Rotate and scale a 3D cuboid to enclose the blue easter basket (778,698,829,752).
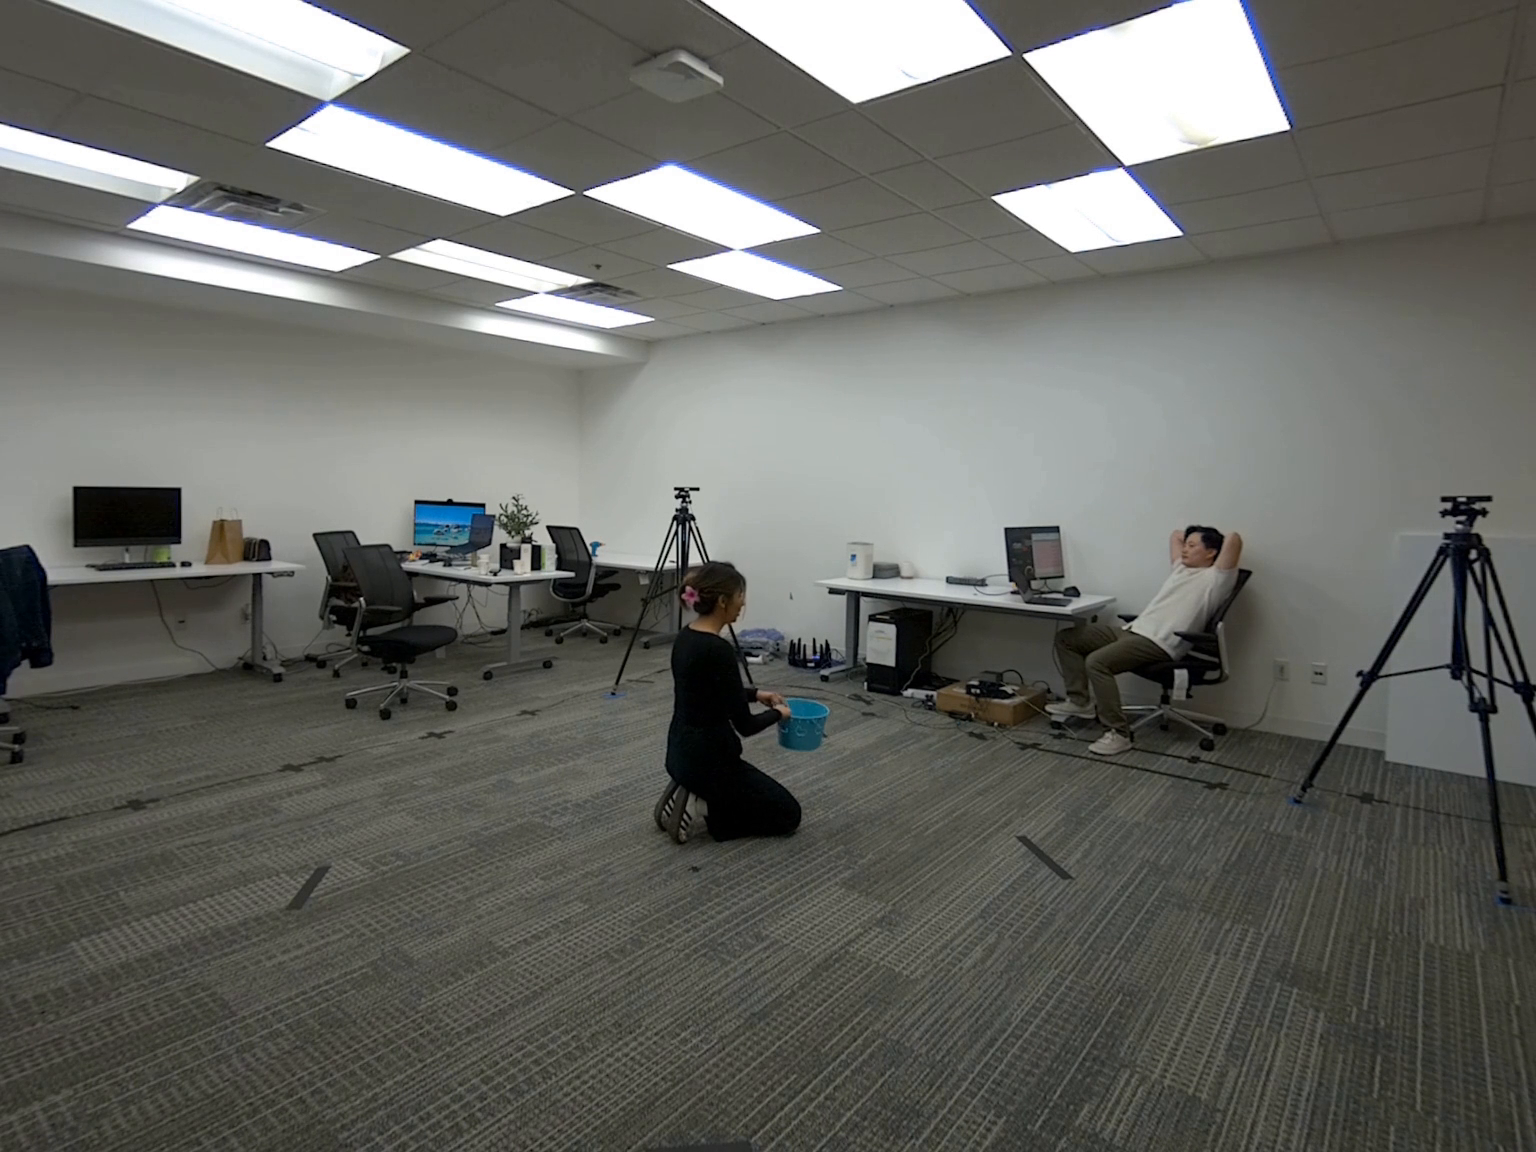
[{"bbox_3d":[0.140,0.633,3.575,0.243,0.154,0.246,2,10,-2],"label":"blue easter basket"}]
